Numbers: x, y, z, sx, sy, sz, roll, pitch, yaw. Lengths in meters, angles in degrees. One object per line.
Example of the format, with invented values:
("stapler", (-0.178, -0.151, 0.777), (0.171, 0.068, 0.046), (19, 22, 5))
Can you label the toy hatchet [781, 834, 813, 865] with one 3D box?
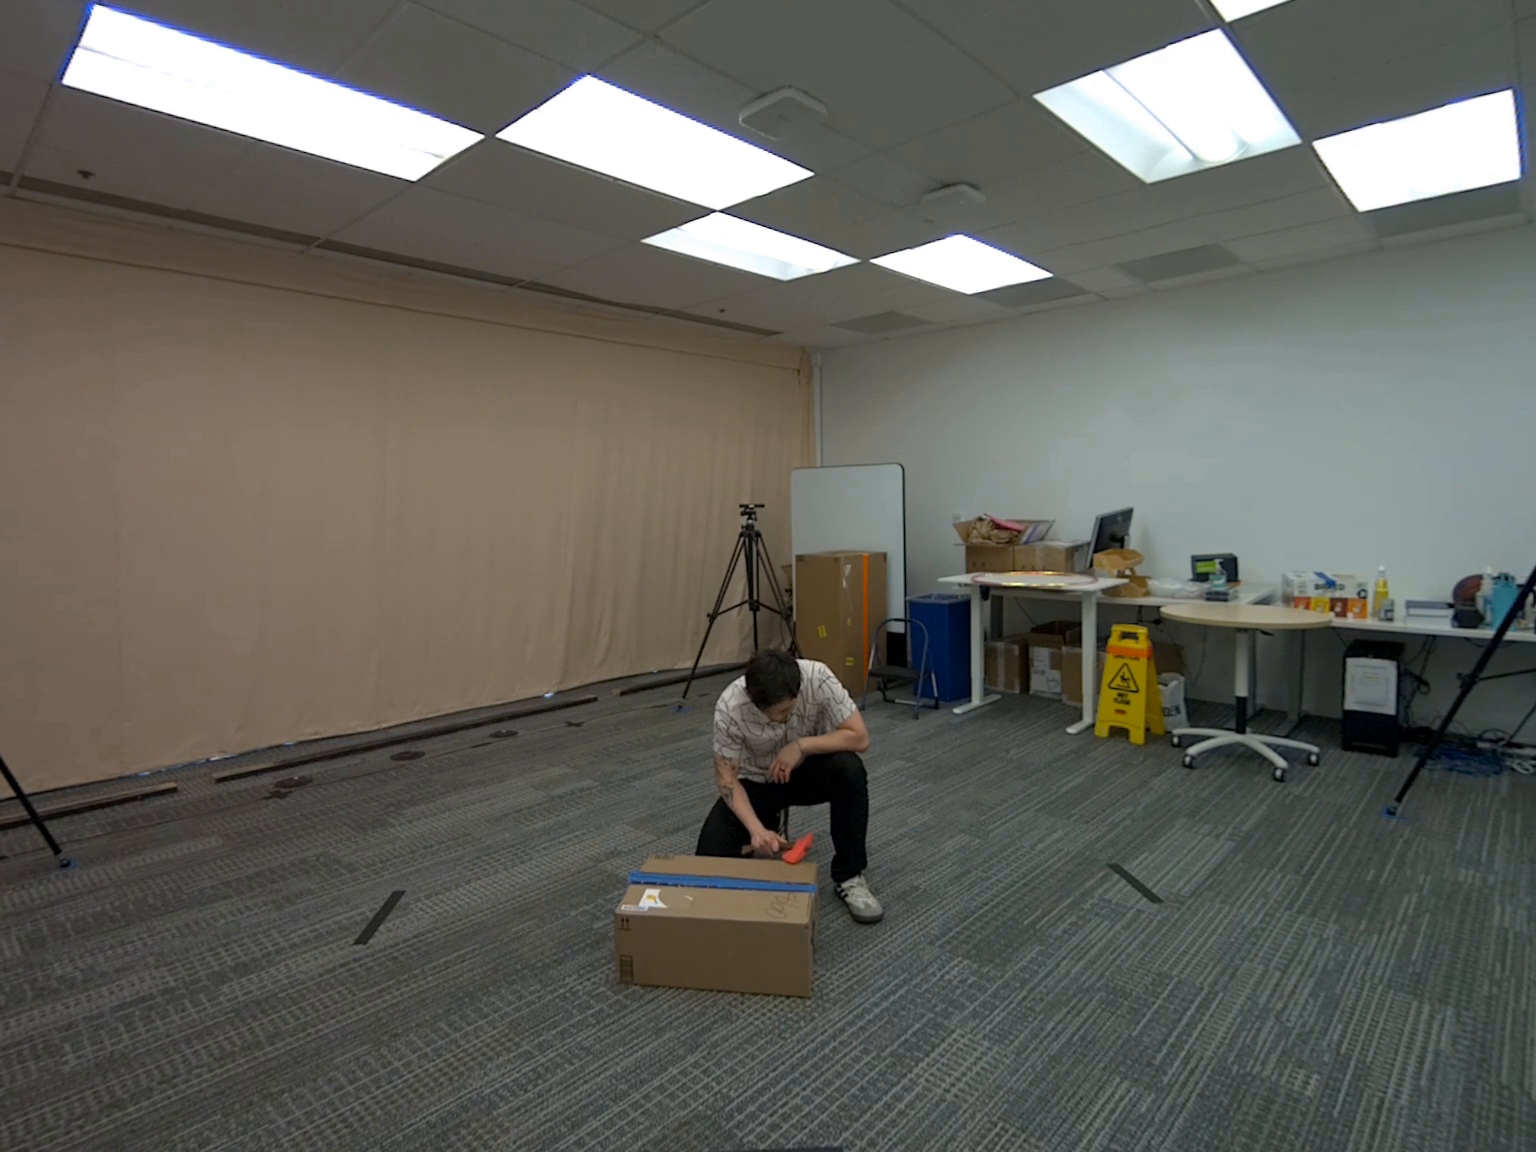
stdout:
("toy hatchet", (0.018, 0.928, 2.830), (0.275, 0.029, 0.131), (-20, 21, 24))
